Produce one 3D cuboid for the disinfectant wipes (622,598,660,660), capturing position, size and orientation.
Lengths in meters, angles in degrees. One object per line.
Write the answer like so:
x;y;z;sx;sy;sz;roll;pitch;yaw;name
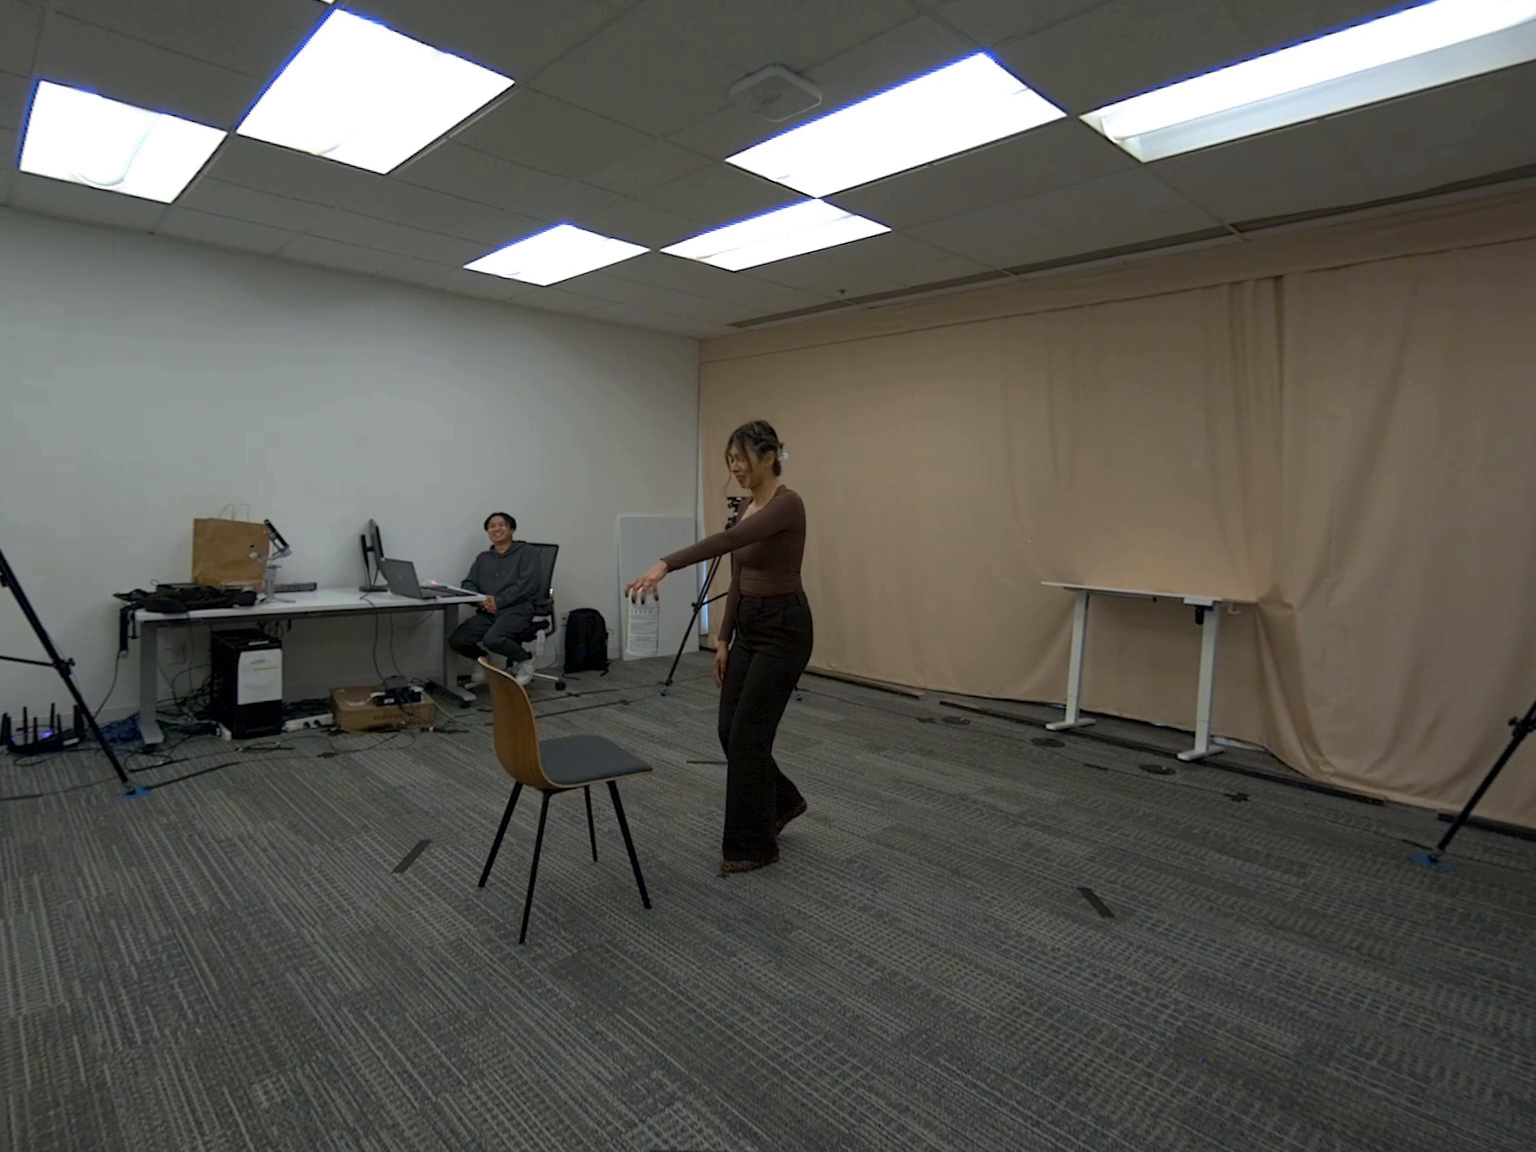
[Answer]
-0.423;0.157;2.787;0.117;0.216;0.118;4;8;-2;disinfectant wipes
